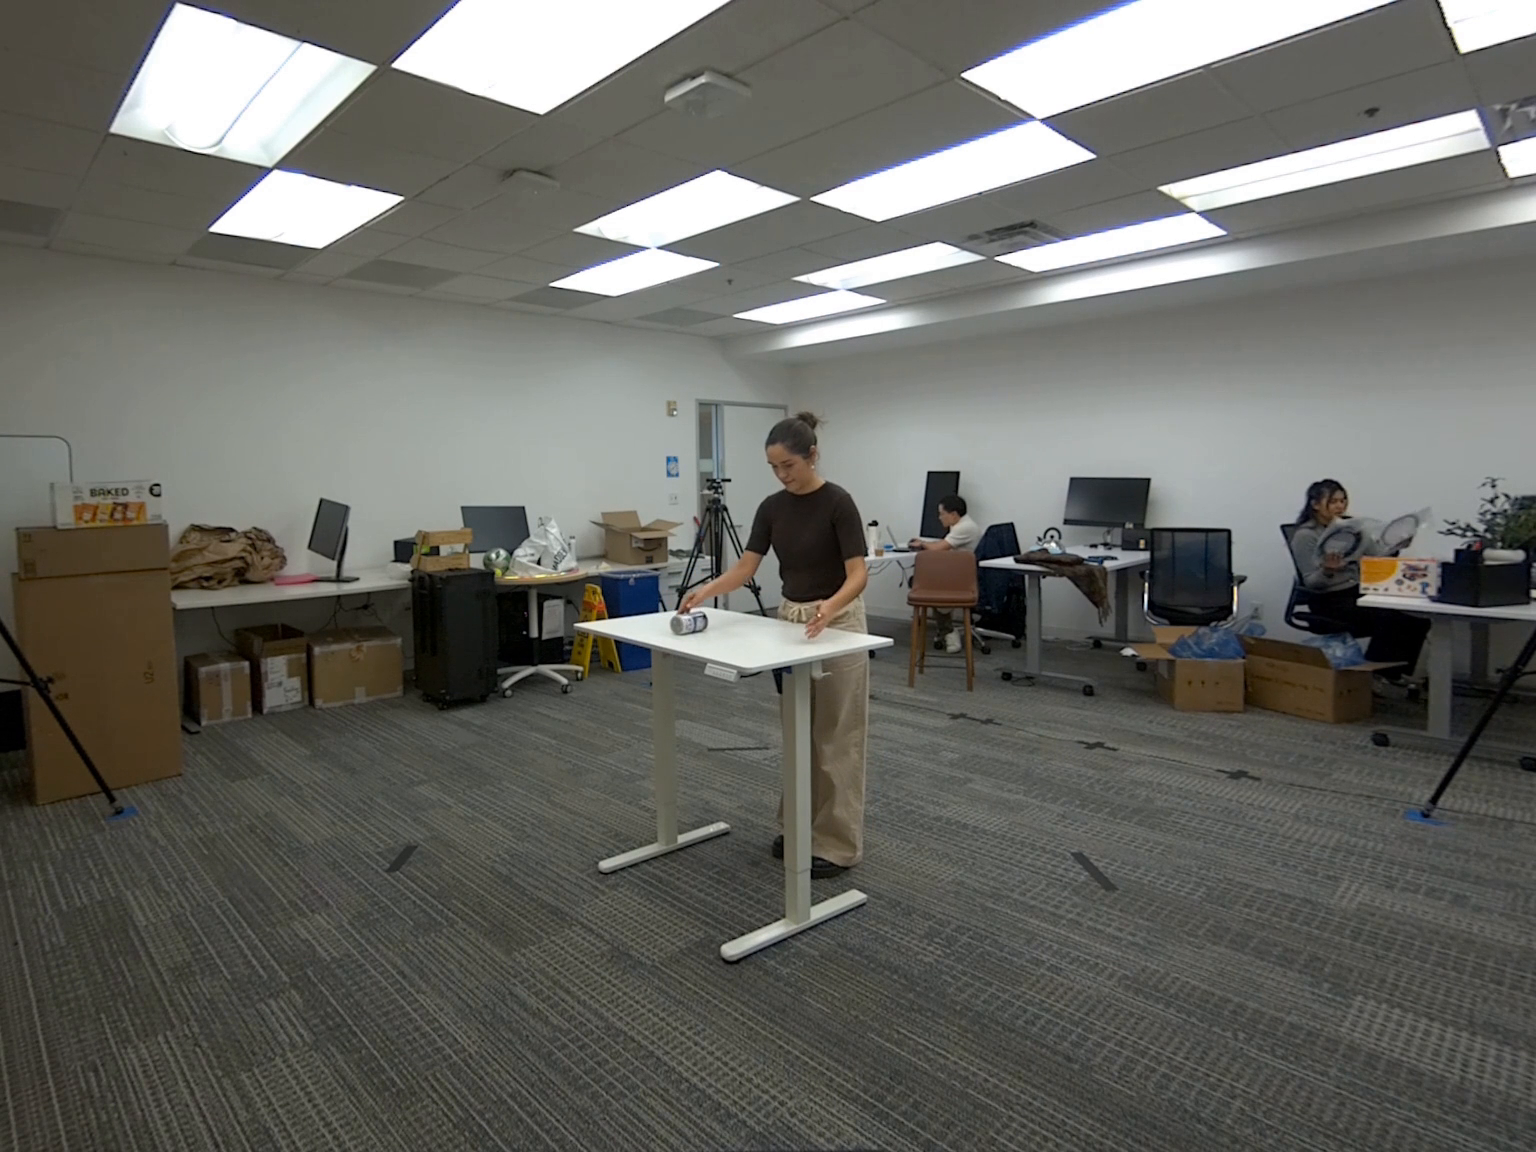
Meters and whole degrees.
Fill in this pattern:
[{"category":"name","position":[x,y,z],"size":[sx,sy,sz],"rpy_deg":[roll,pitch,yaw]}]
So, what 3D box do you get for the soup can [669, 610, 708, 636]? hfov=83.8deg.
[{"category":"soup can","position":[-0.259,0.158,2.872],"size":[0.069,0.067,0.118],"rpy_deg":[4,6,44]}]
